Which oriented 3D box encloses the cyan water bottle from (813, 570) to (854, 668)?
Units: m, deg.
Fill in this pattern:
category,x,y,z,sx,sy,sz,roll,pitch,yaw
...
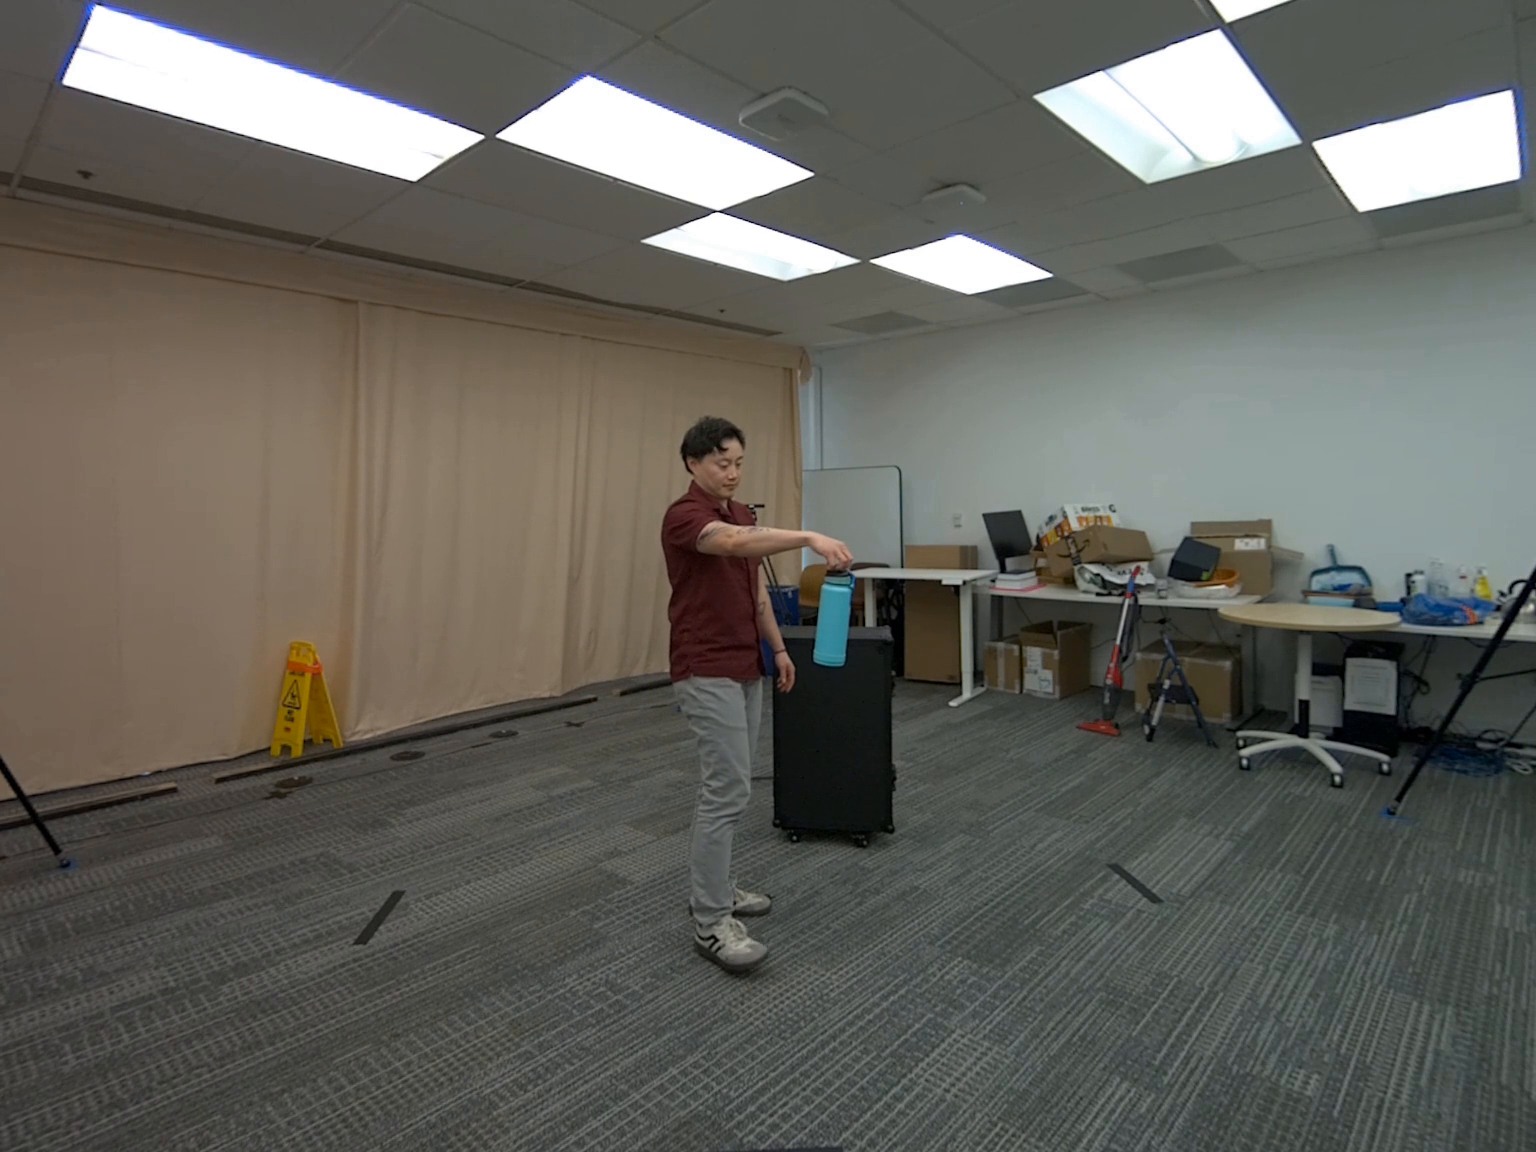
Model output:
category,x,y,z,sx,sy,sz,roll,pitch,yaw
cyan water bottle,0.201,0.109,2.394,0.092,0.283,0.093,7,5,-3
